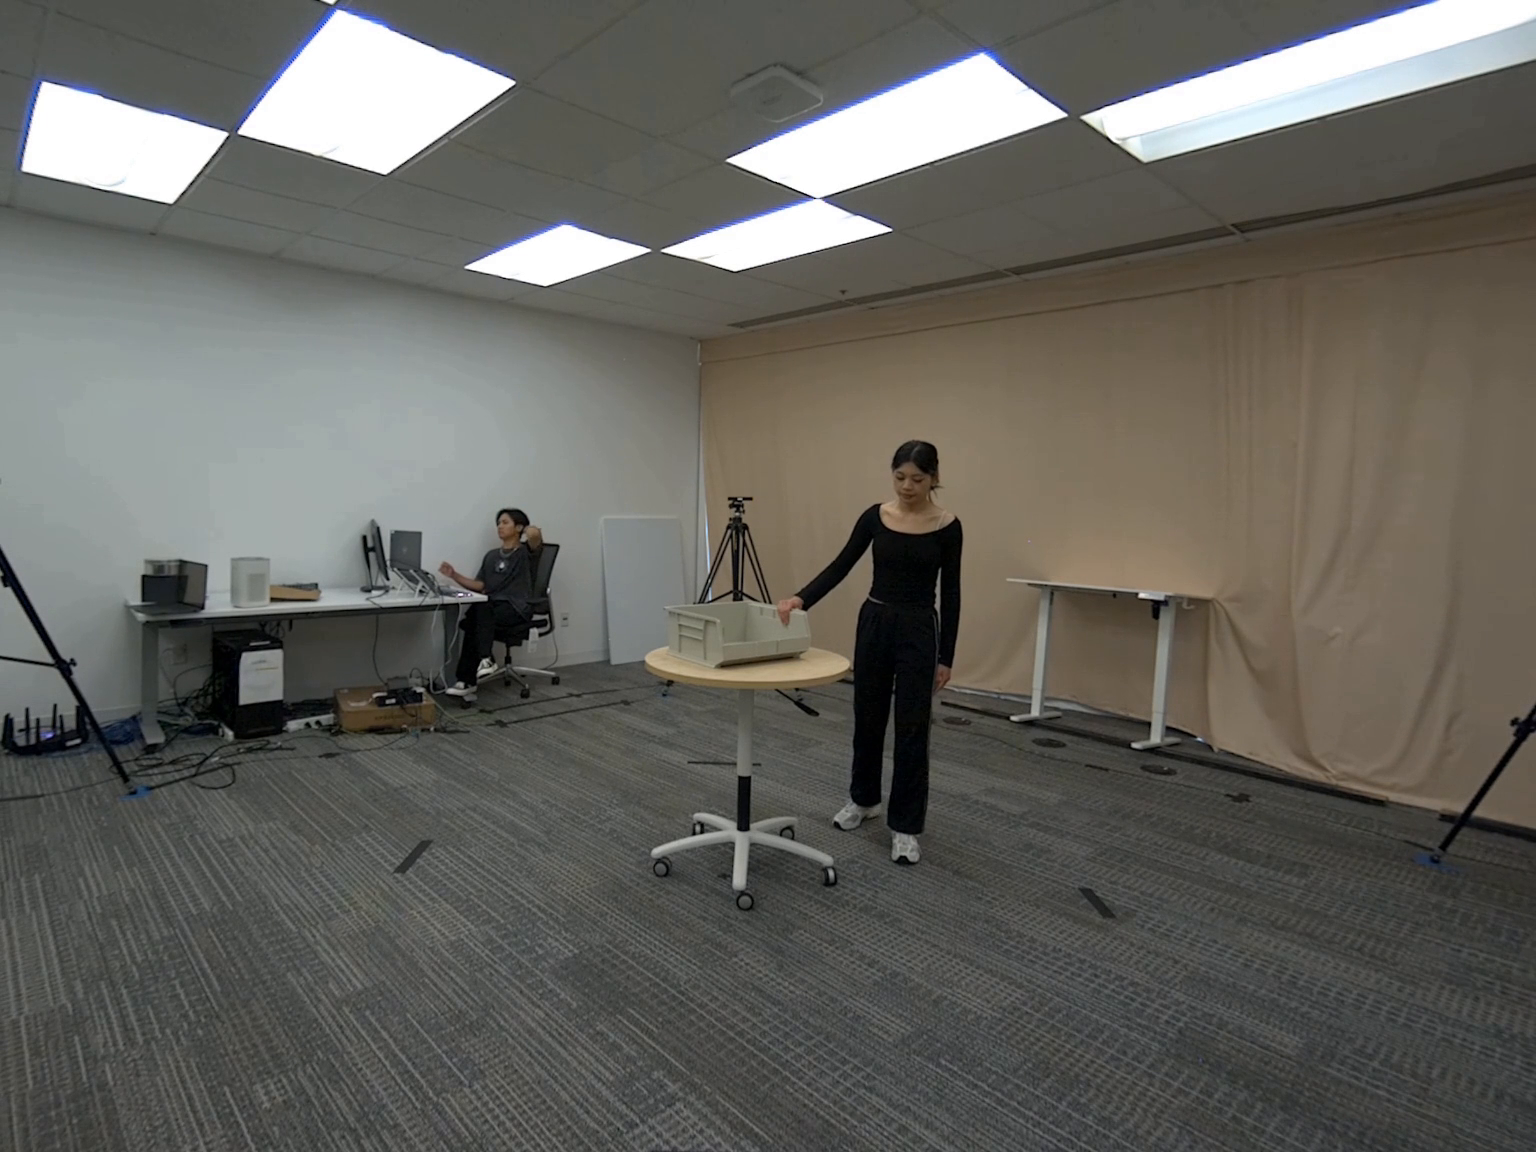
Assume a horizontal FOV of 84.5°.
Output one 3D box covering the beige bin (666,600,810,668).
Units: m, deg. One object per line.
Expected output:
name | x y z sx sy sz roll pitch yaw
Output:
beige bin | -0.120 0.218 3.189 0.413 0.188 0.387 -4 6 -39
